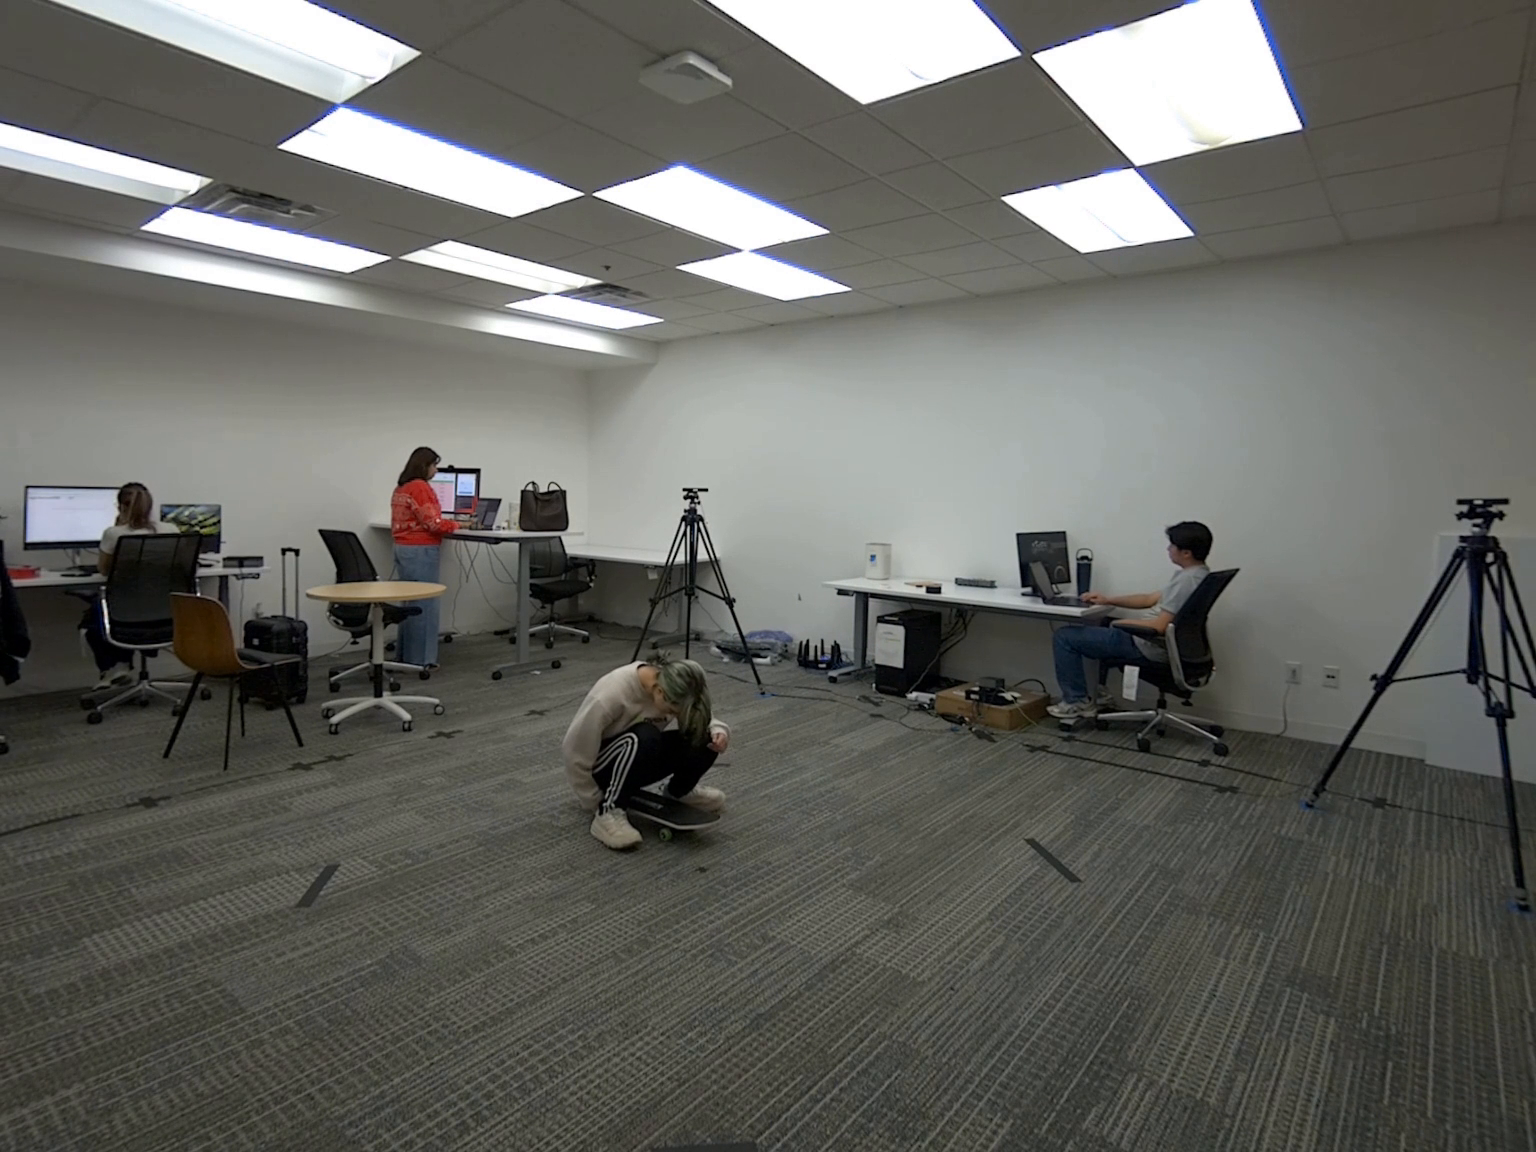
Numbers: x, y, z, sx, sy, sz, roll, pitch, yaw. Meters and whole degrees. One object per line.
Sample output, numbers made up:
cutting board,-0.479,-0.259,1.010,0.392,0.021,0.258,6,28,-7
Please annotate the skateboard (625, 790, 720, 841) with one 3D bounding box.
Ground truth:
skateboard,-0.531,0.966,3.541,0.811,0.110,0.188,5,7,37
